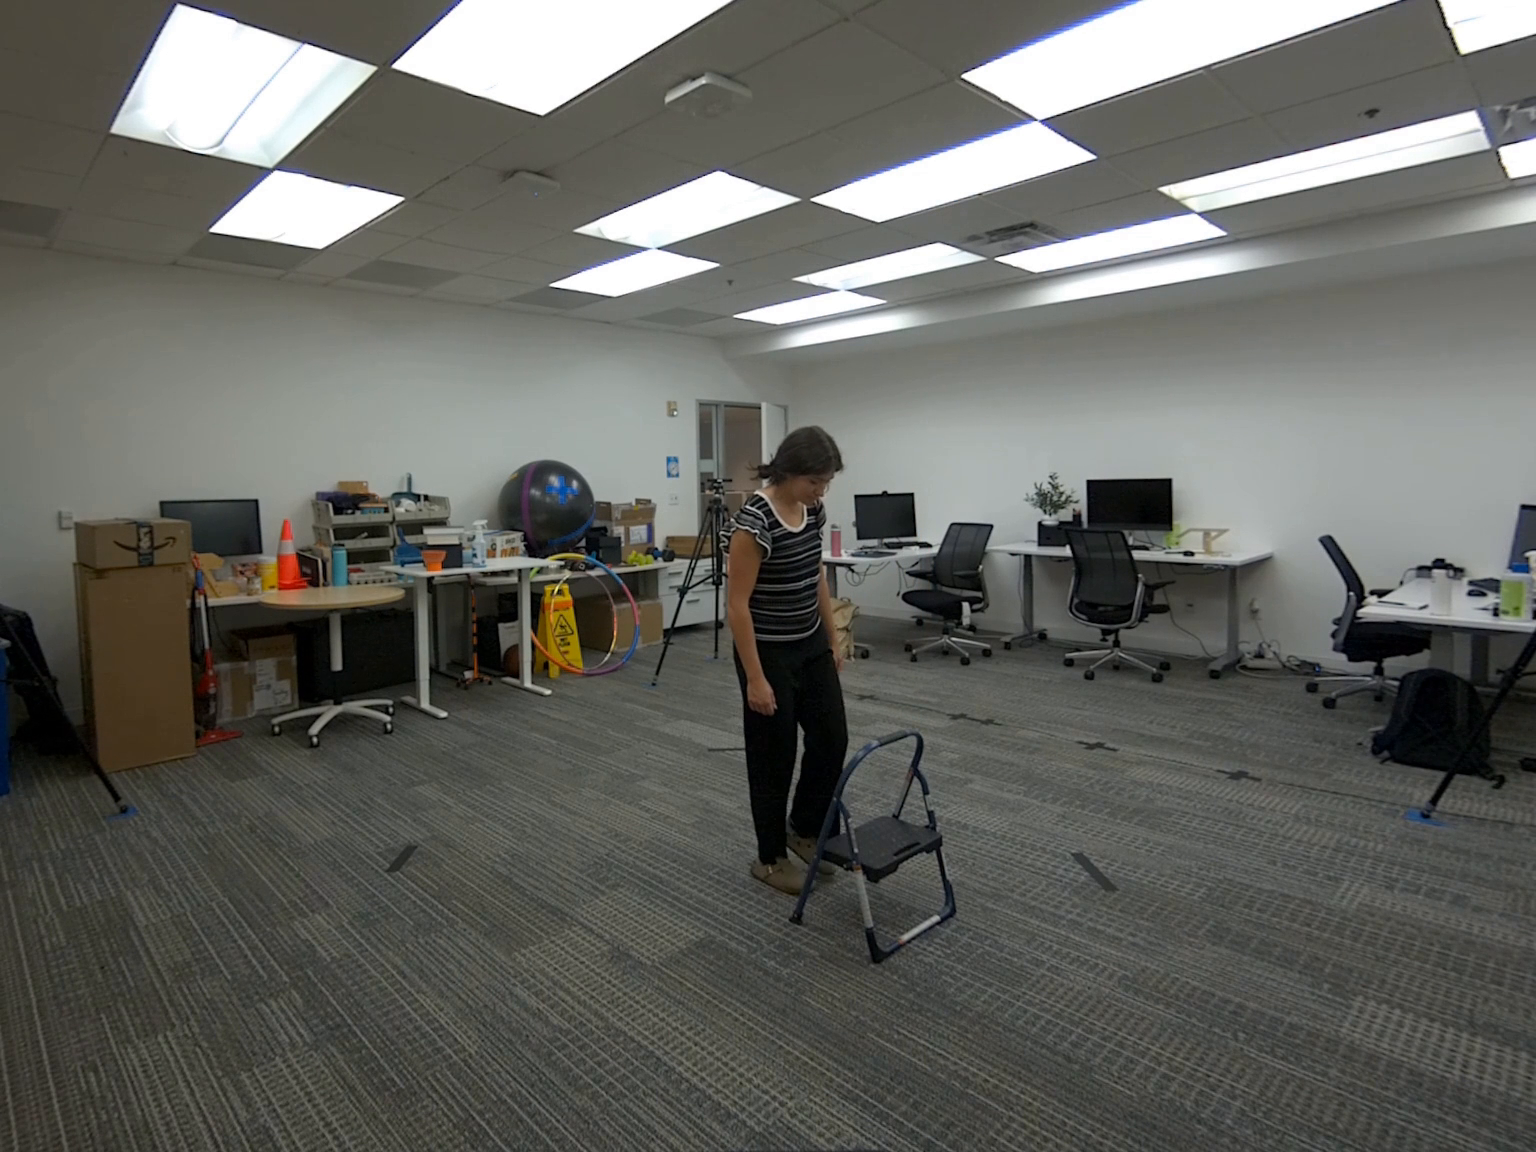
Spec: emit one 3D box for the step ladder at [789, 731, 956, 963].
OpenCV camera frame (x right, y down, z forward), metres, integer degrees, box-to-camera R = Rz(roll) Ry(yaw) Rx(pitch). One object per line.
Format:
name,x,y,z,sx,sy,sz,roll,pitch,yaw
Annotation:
step ladder,0.335,0.786,2.691,0.419,0.604,0.360,-5,6,-45
